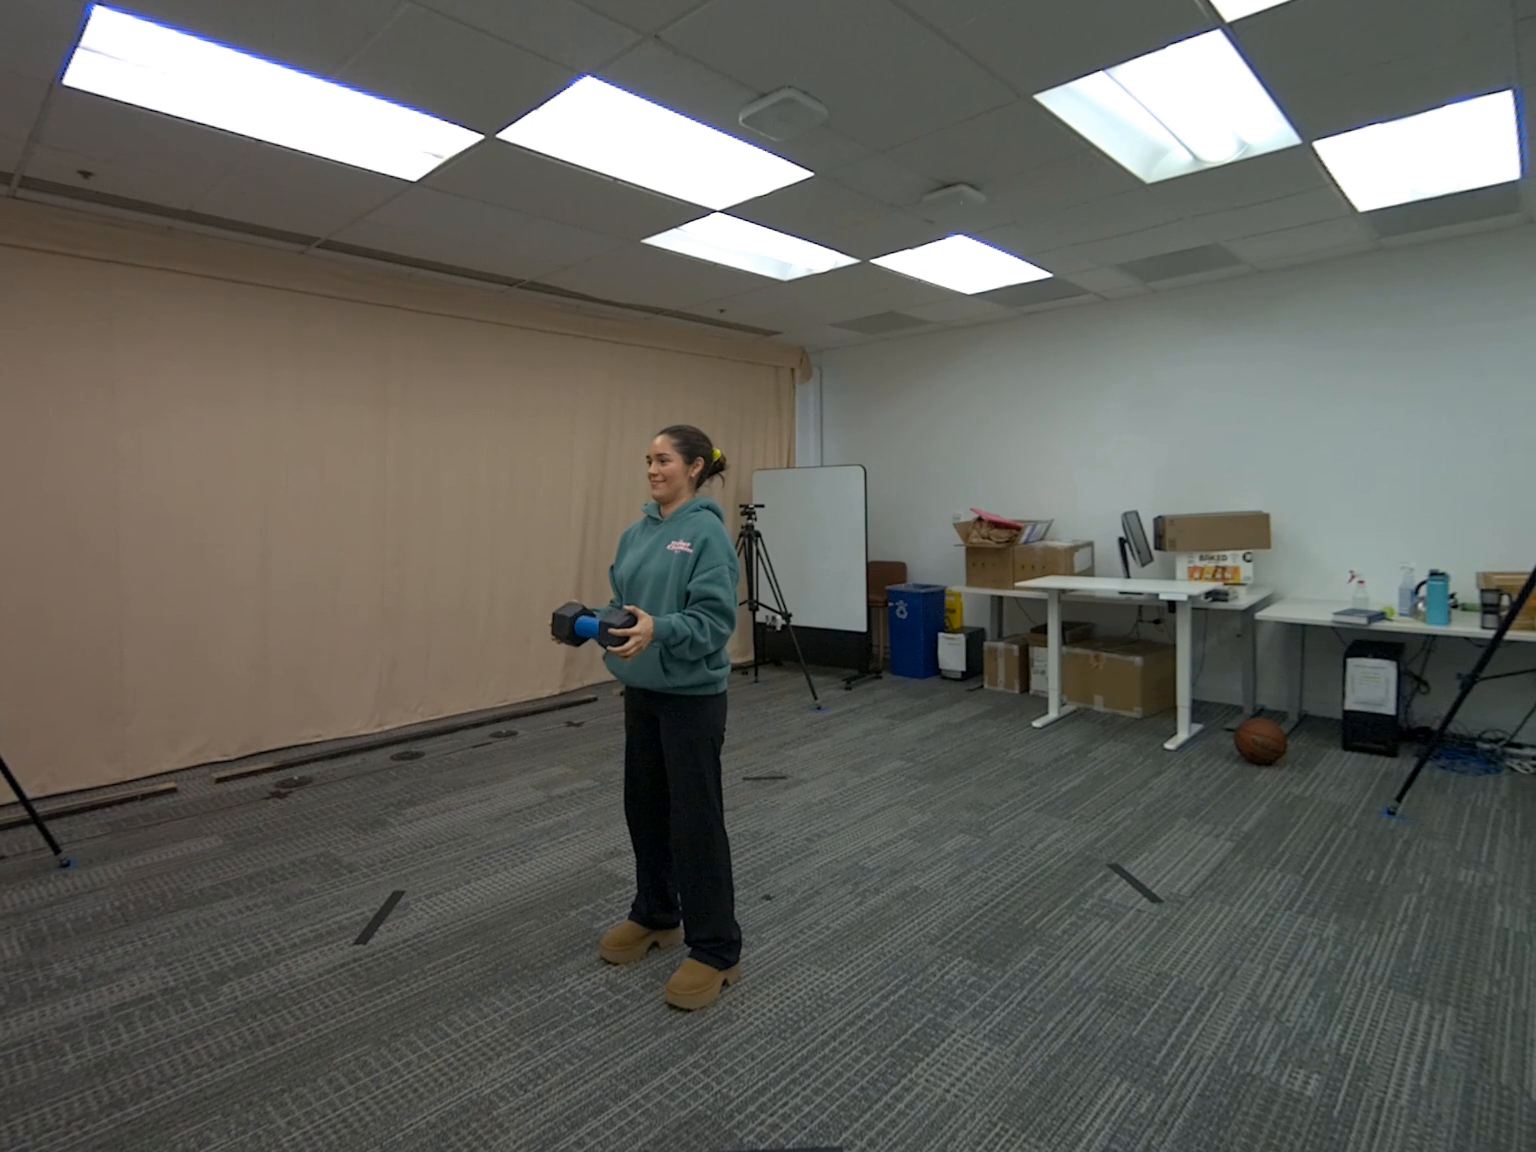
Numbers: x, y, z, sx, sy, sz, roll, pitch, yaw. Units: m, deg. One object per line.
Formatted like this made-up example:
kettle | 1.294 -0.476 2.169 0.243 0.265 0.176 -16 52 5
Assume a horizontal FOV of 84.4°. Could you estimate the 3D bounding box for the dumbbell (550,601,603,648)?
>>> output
dumbbell | -0.453 0.144 2.304 0.303 0.106 0.121 6 35 41
